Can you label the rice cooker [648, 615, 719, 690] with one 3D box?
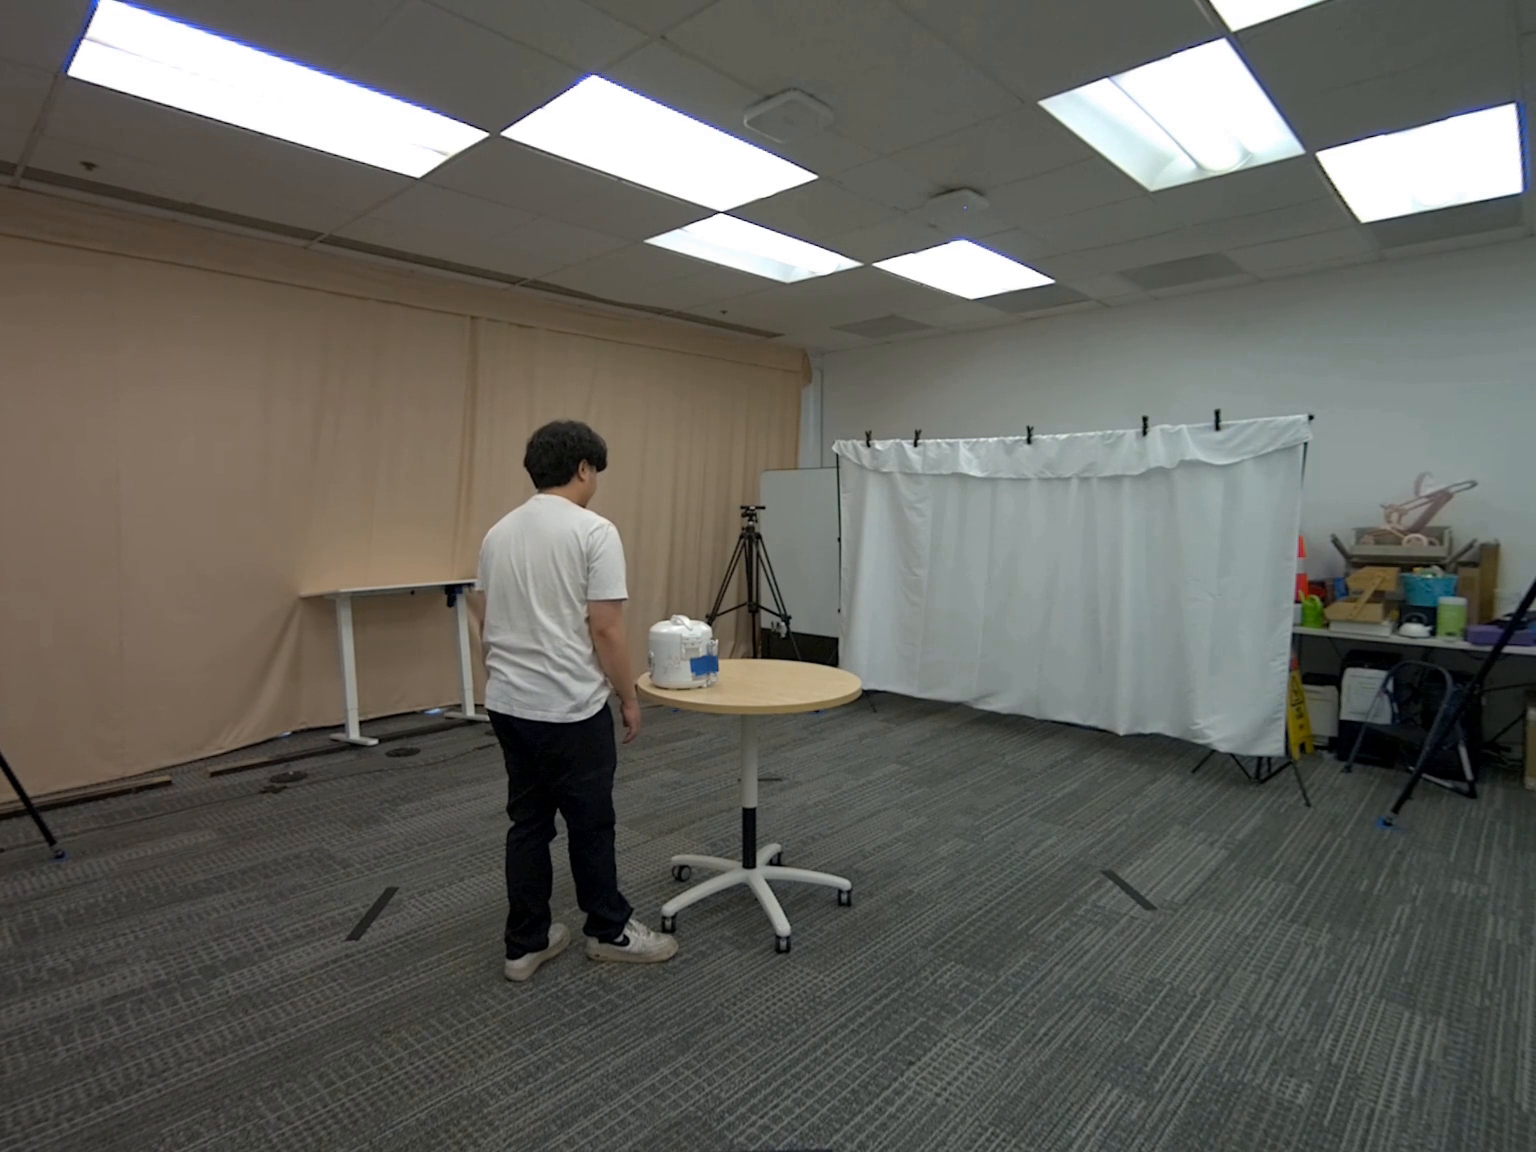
[{"bbox_3d":[-0.289,0.248,2.795,0.212,0.232,0.226,-1,2,-25],"label":"rice cooker"}]
